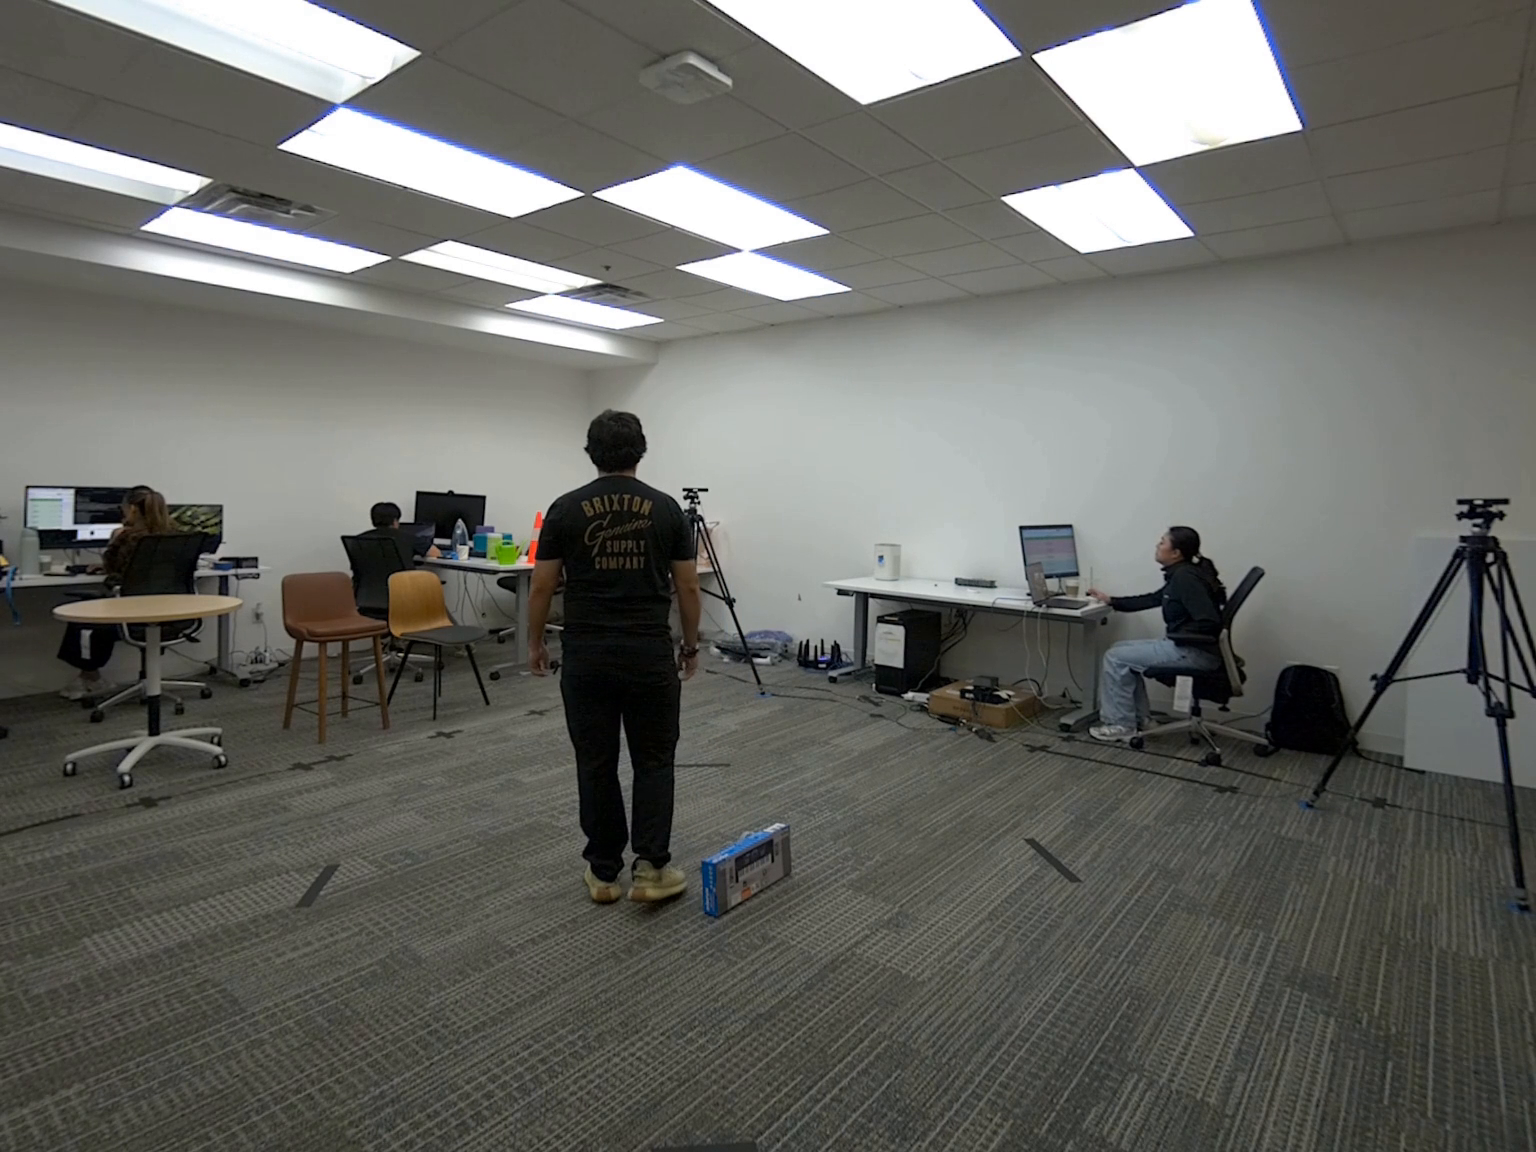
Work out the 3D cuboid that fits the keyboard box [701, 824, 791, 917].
[{"bbox_3d":[-0.073,1.004,2.933,0.061,0.176,0.424,-3,1,36],"label":"keyboard box"}]
